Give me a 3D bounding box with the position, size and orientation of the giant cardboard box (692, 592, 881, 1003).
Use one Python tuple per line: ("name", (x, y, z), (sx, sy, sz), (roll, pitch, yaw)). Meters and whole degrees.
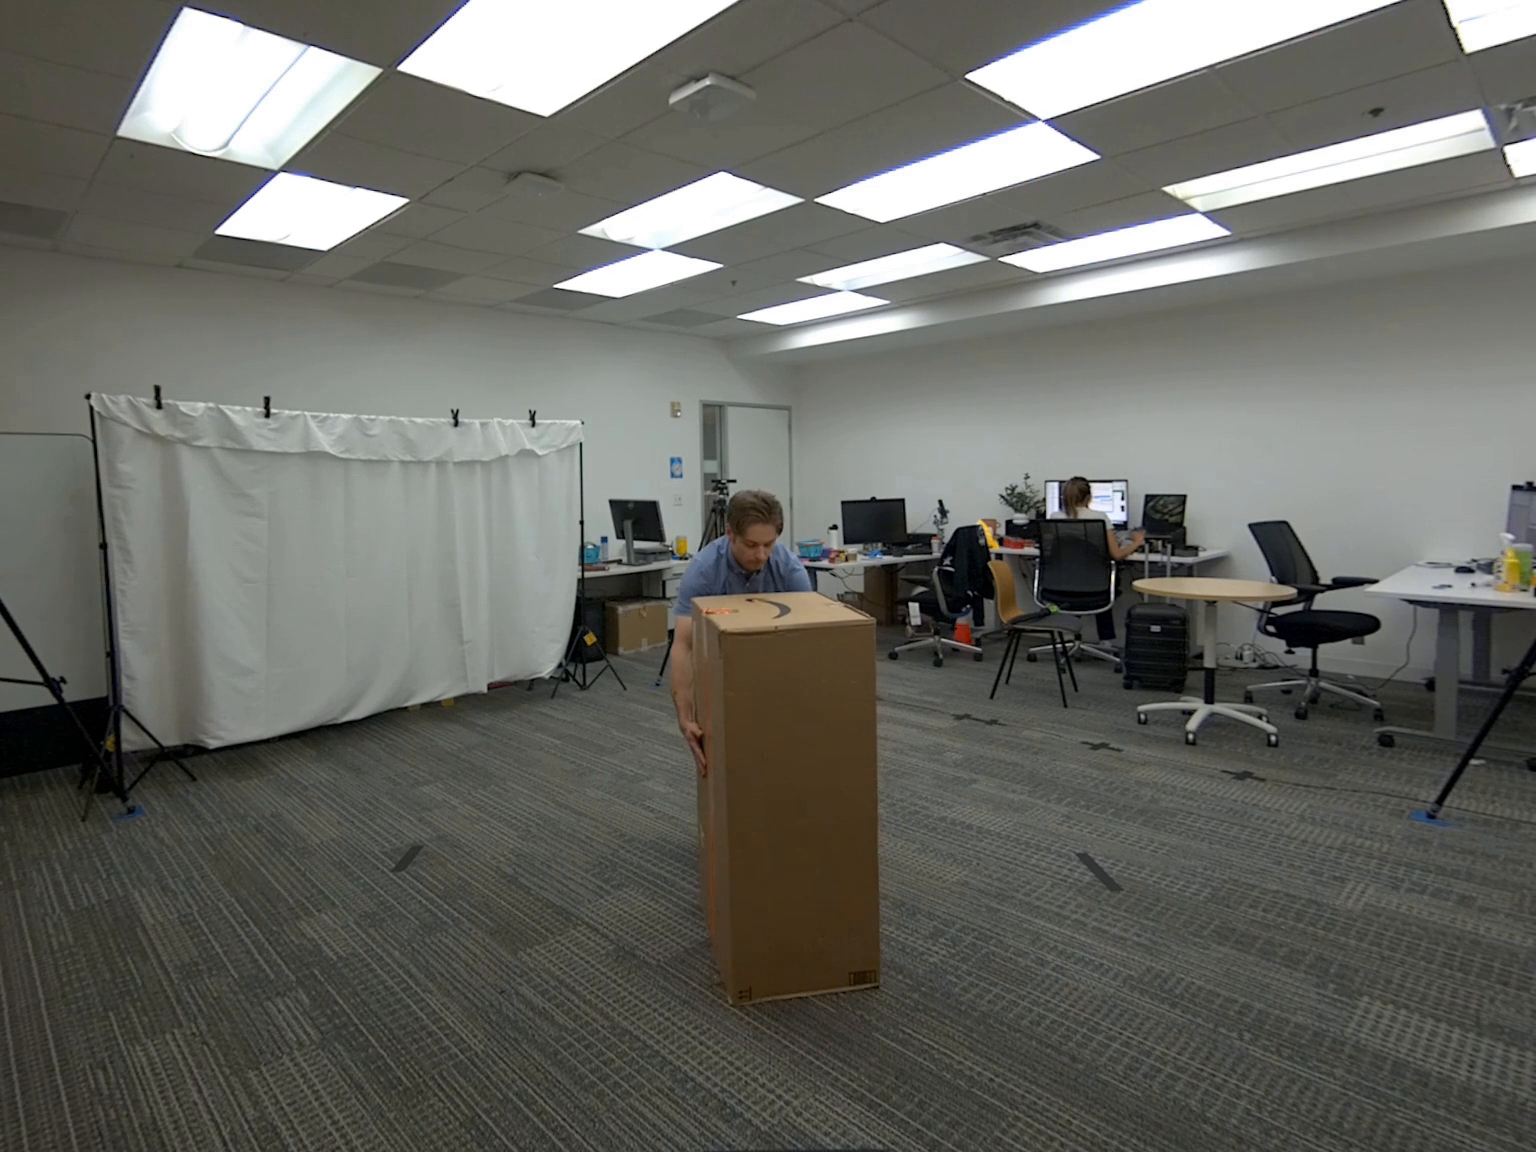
("giant cardboard box", (0.029, 0.604, 2.547), (0.422, 1.022, 0.586), (-2, 4, -12))
